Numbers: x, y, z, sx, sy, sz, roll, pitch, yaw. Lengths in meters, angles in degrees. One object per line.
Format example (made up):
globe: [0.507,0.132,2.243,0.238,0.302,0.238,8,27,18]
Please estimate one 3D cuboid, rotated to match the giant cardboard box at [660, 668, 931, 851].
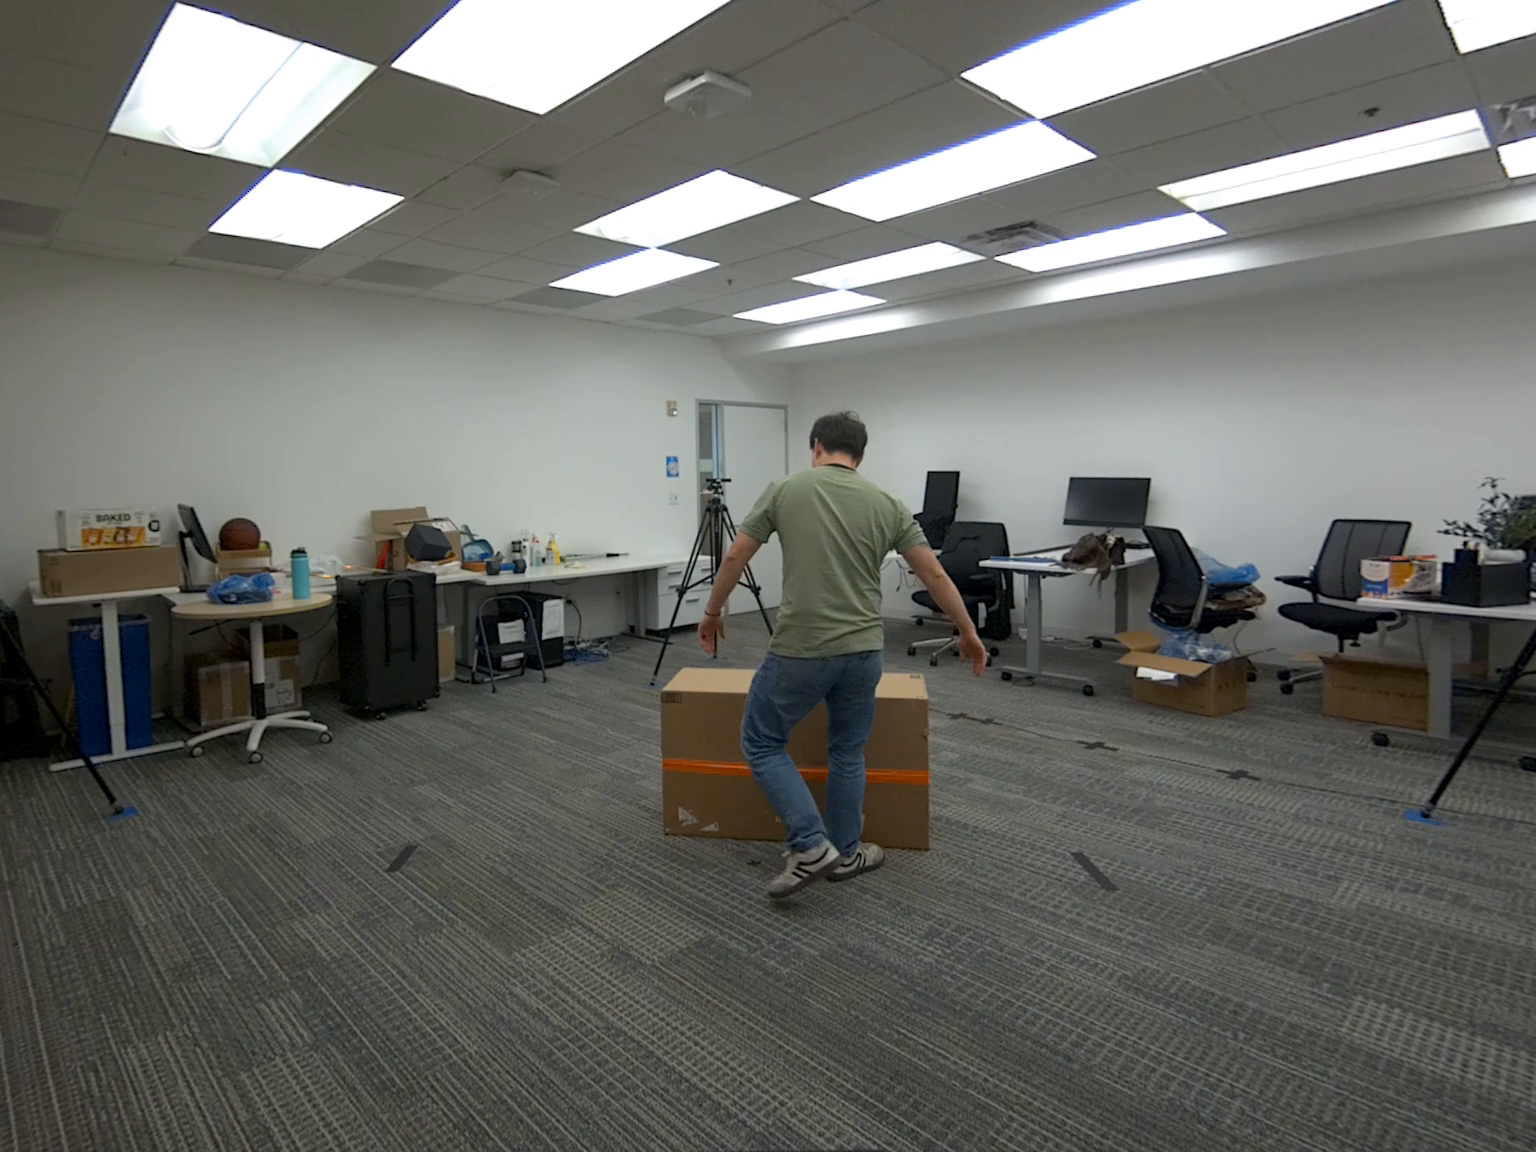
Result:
giant cardboard box: [0.117,0.711,3.460,1.036,0.575,0.424,0,5,9]
